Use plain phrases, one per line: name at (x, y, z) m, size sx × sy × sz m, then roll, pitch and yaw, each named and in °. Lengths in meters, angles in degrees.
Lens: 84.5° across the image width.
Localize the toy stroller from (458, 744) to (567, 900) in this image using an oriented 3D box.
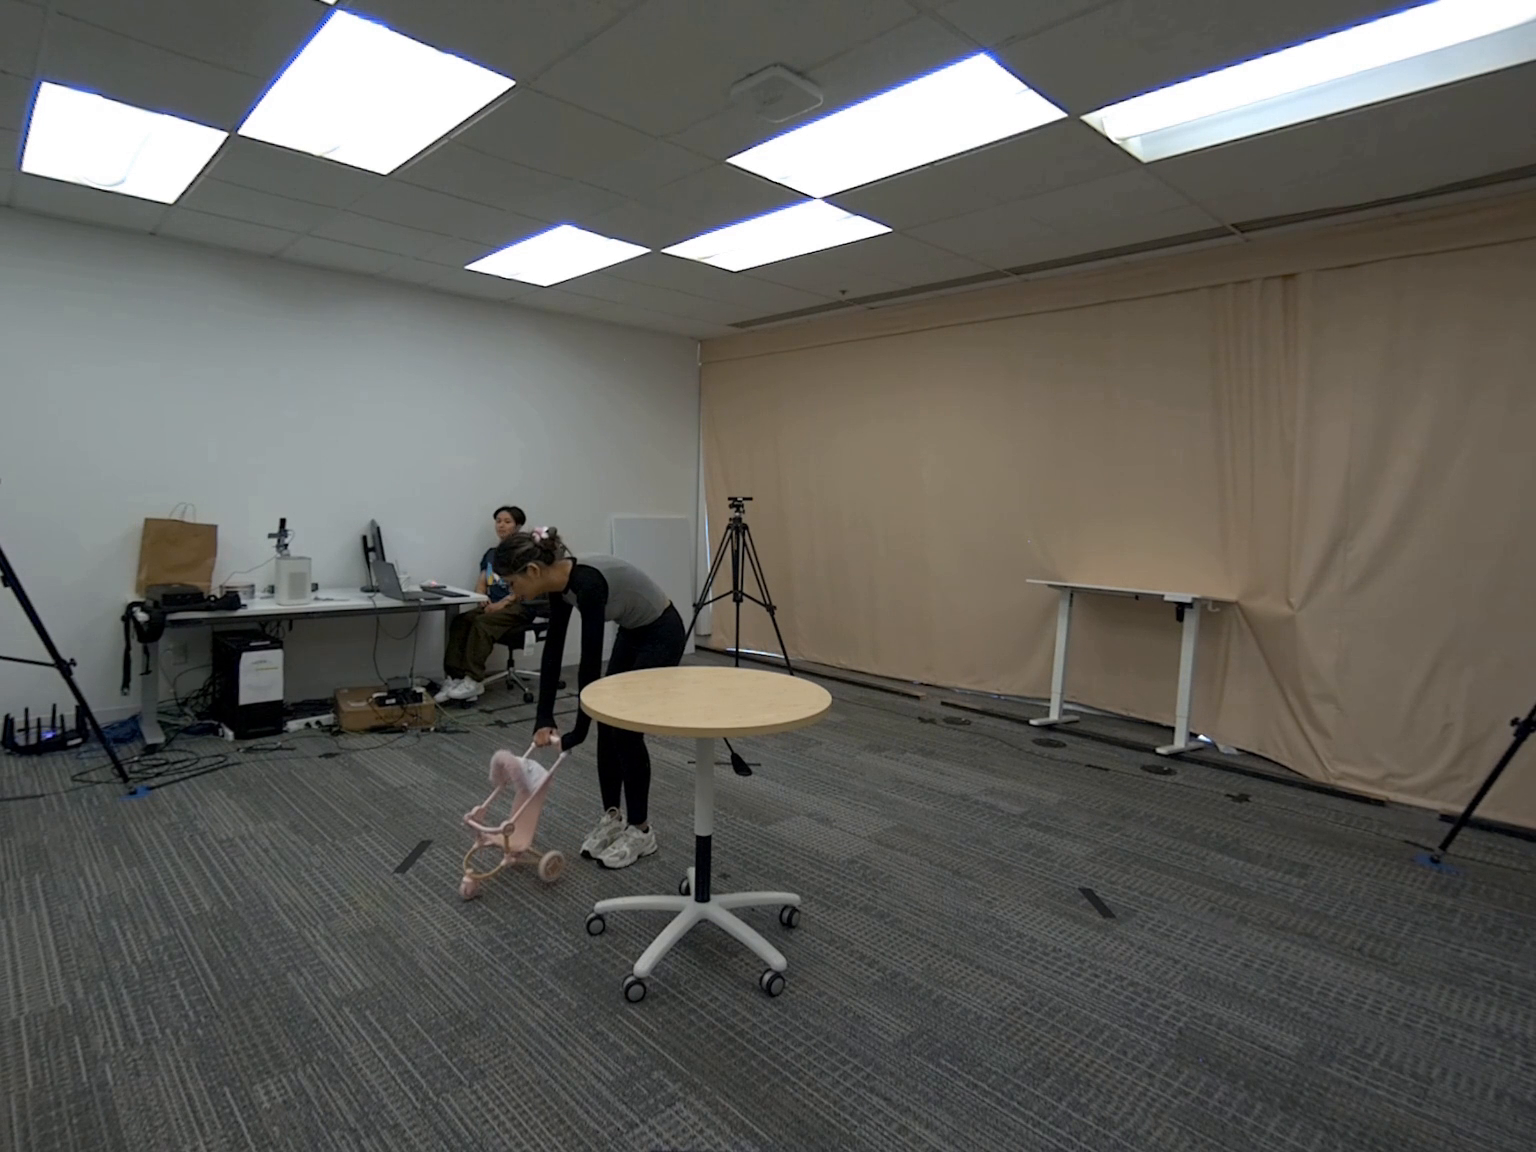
toy stroller at (-0.918, 0.855, 2.983) m, size 0.332 × 0.535 × 0.289 m, roll 8°, pitch -1°, yaw -43°
